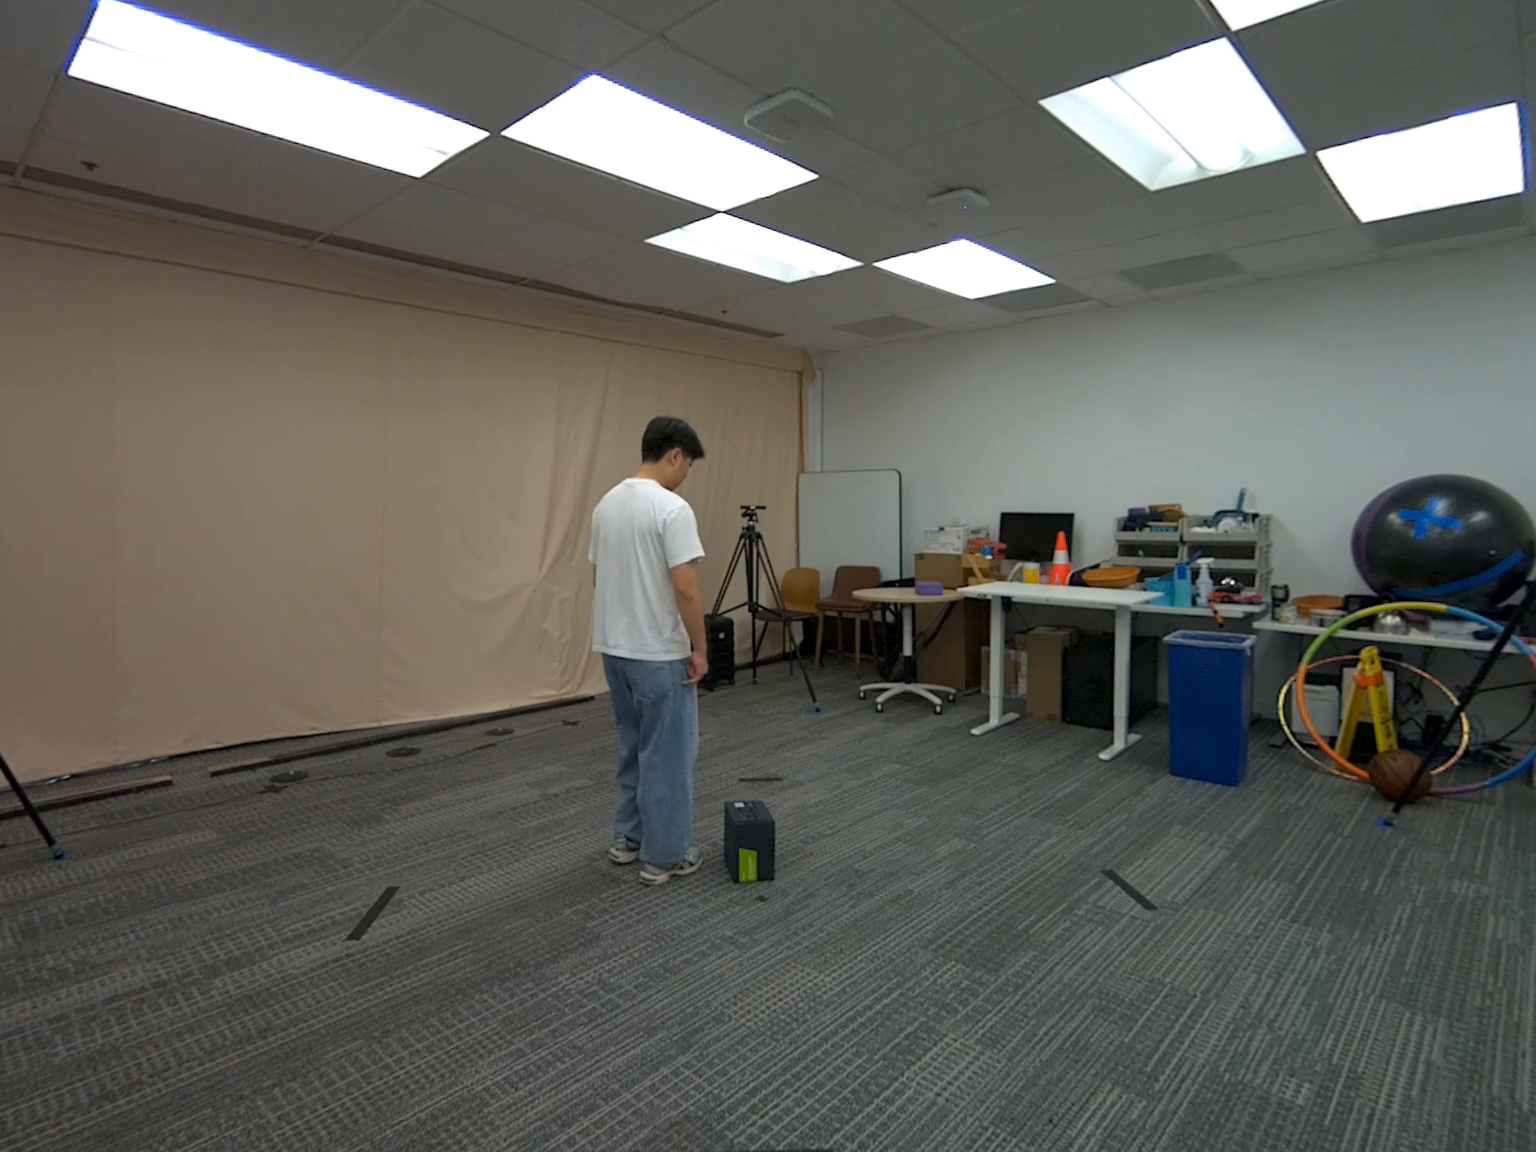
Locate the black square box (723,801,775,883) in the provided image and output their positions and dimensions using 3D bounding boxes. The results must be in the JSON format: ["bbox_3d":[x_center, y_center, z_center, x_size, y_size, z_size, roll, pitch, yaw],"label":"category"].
[{"bbox_3d":[-0.067,1.006,3.203,0.154,0.227,0.220,1,3,-13],"label":"black square box"}]
